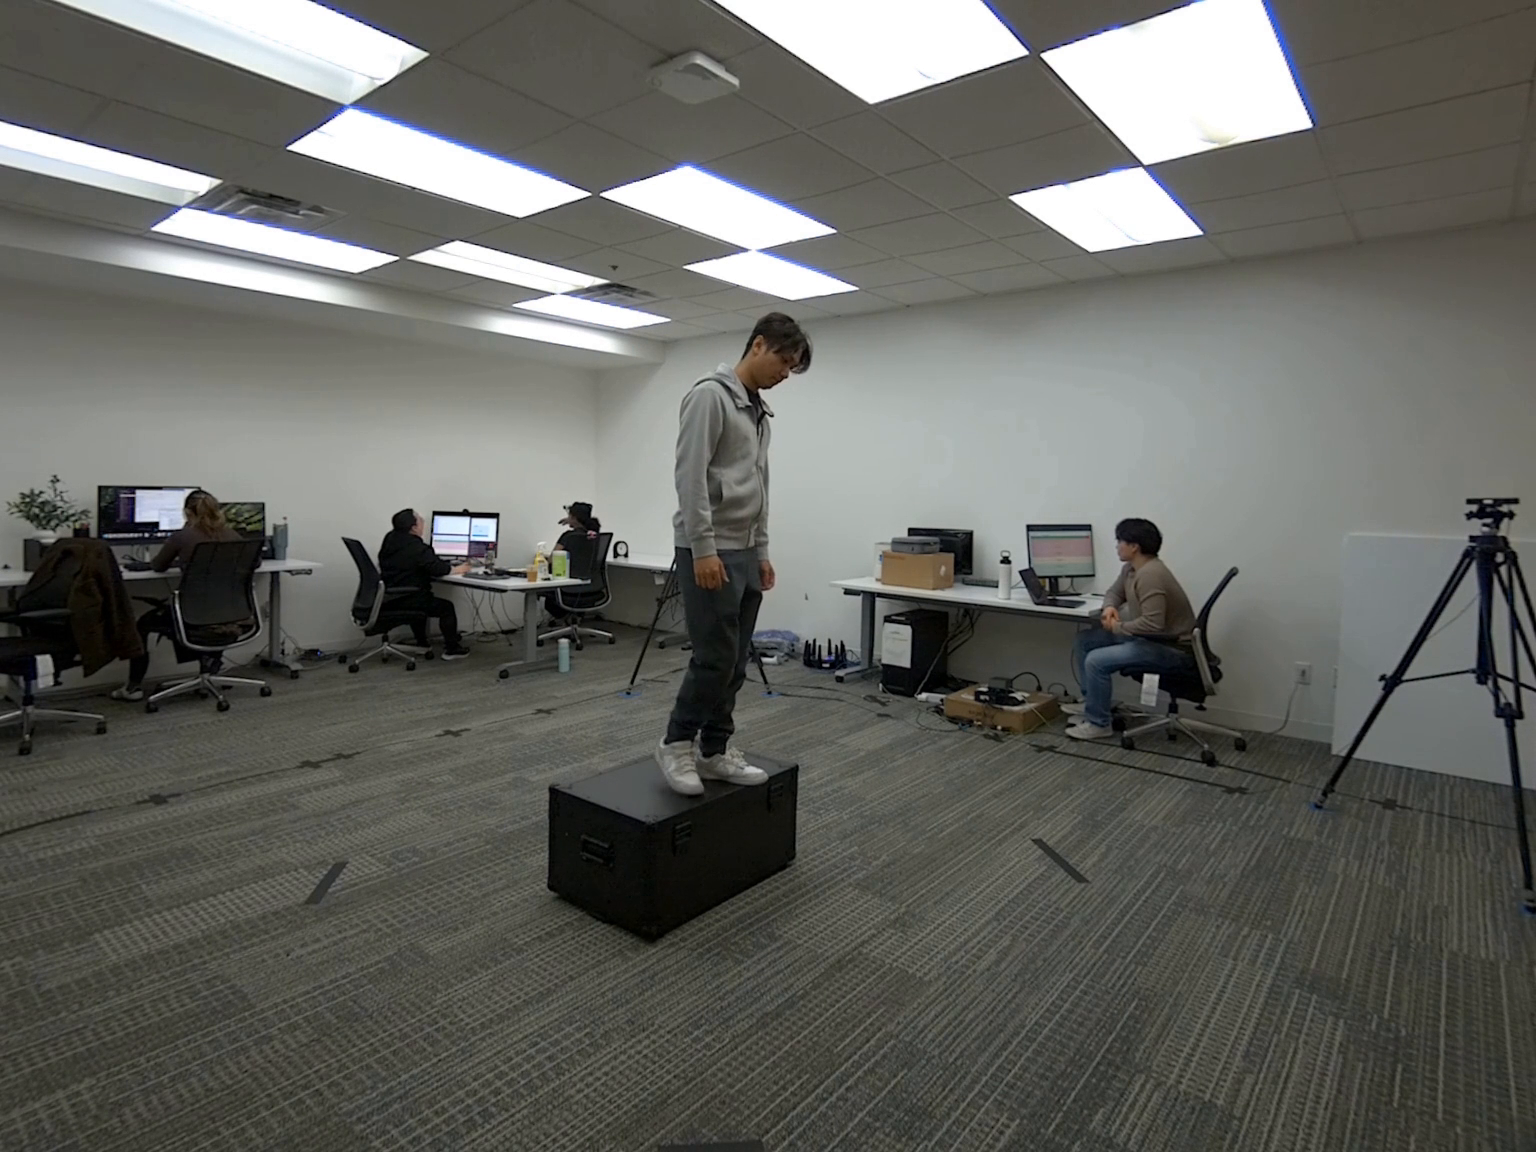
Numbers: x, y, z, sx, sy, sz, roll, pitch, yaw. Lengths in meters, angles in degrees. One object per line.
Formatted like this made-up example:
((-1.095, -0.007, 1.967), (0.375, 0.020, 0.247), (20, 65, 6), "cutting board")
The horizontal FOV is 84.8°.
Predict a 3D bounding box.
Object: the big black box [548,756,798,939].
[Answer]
((-0.304, 0.882, 3.028), (0.539, 0.395, 0.837), (5, 7, 37), "big black box")
